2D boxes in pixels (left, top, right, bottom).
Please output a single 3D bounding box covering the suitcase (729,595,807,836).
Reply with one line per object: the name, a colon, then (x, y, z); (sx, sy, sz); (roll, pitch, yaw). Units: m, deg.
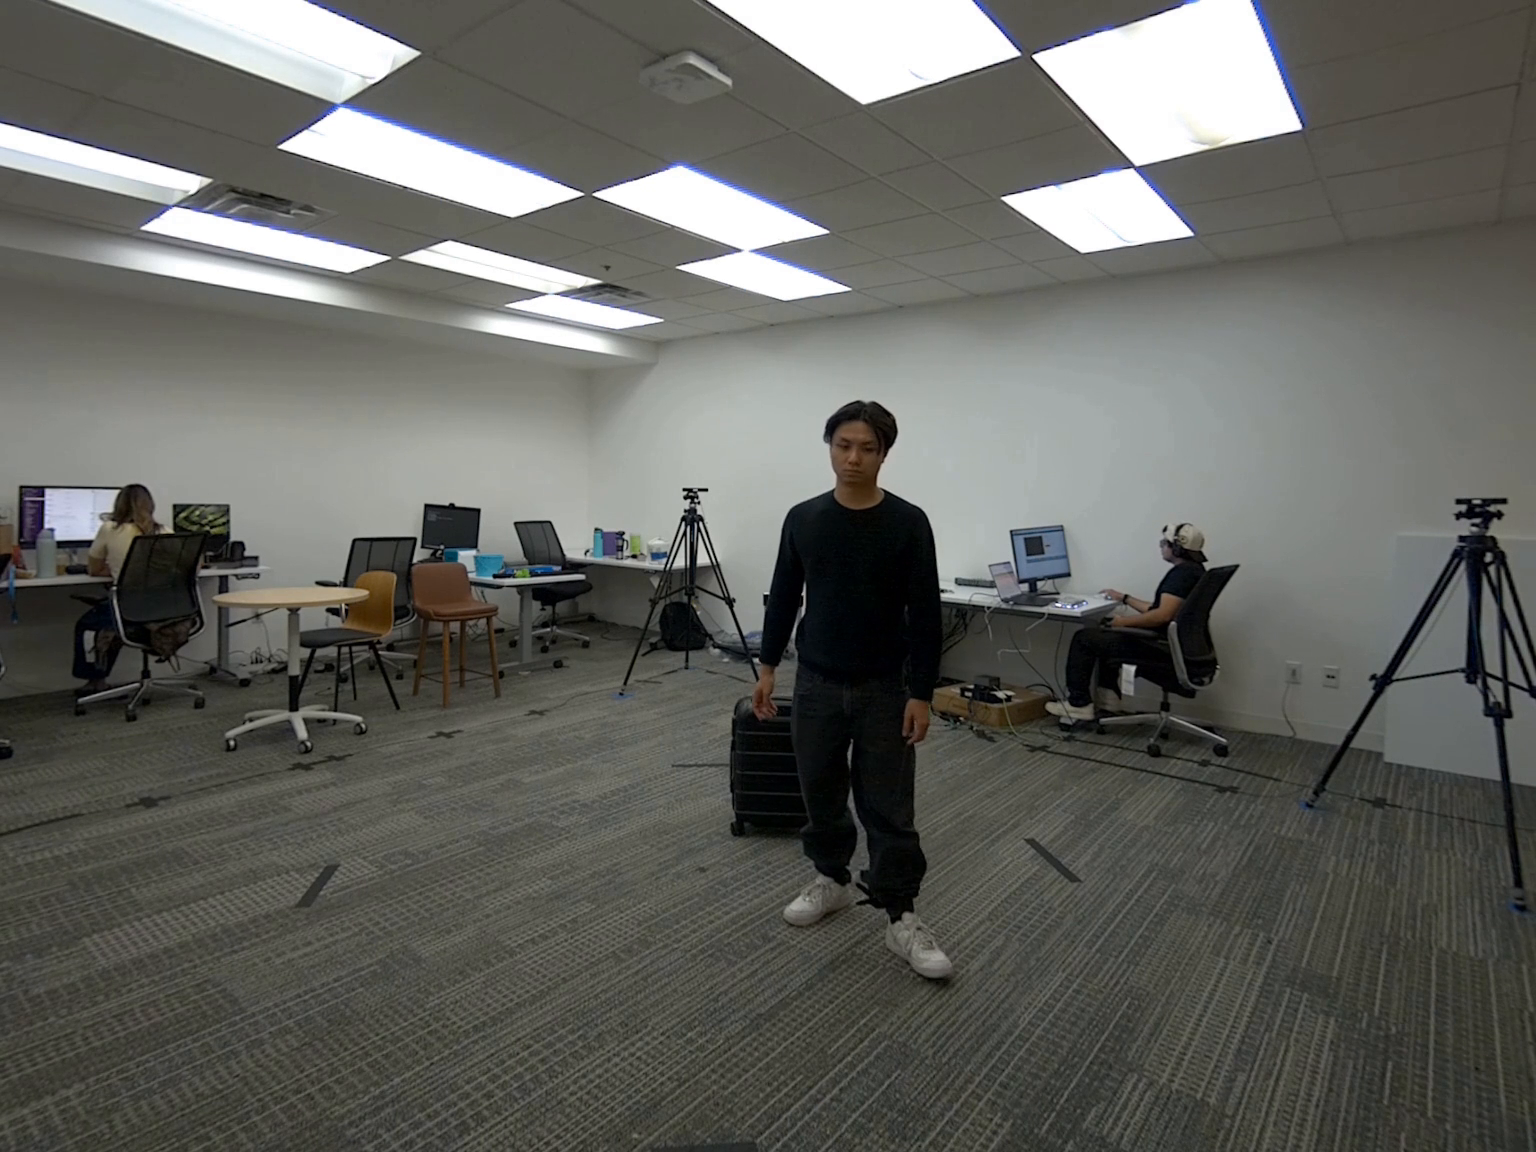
suitcase: (0.030, 0.562, 3.504); (0.384, 0.978, 0.257); (2, 1, 0)
